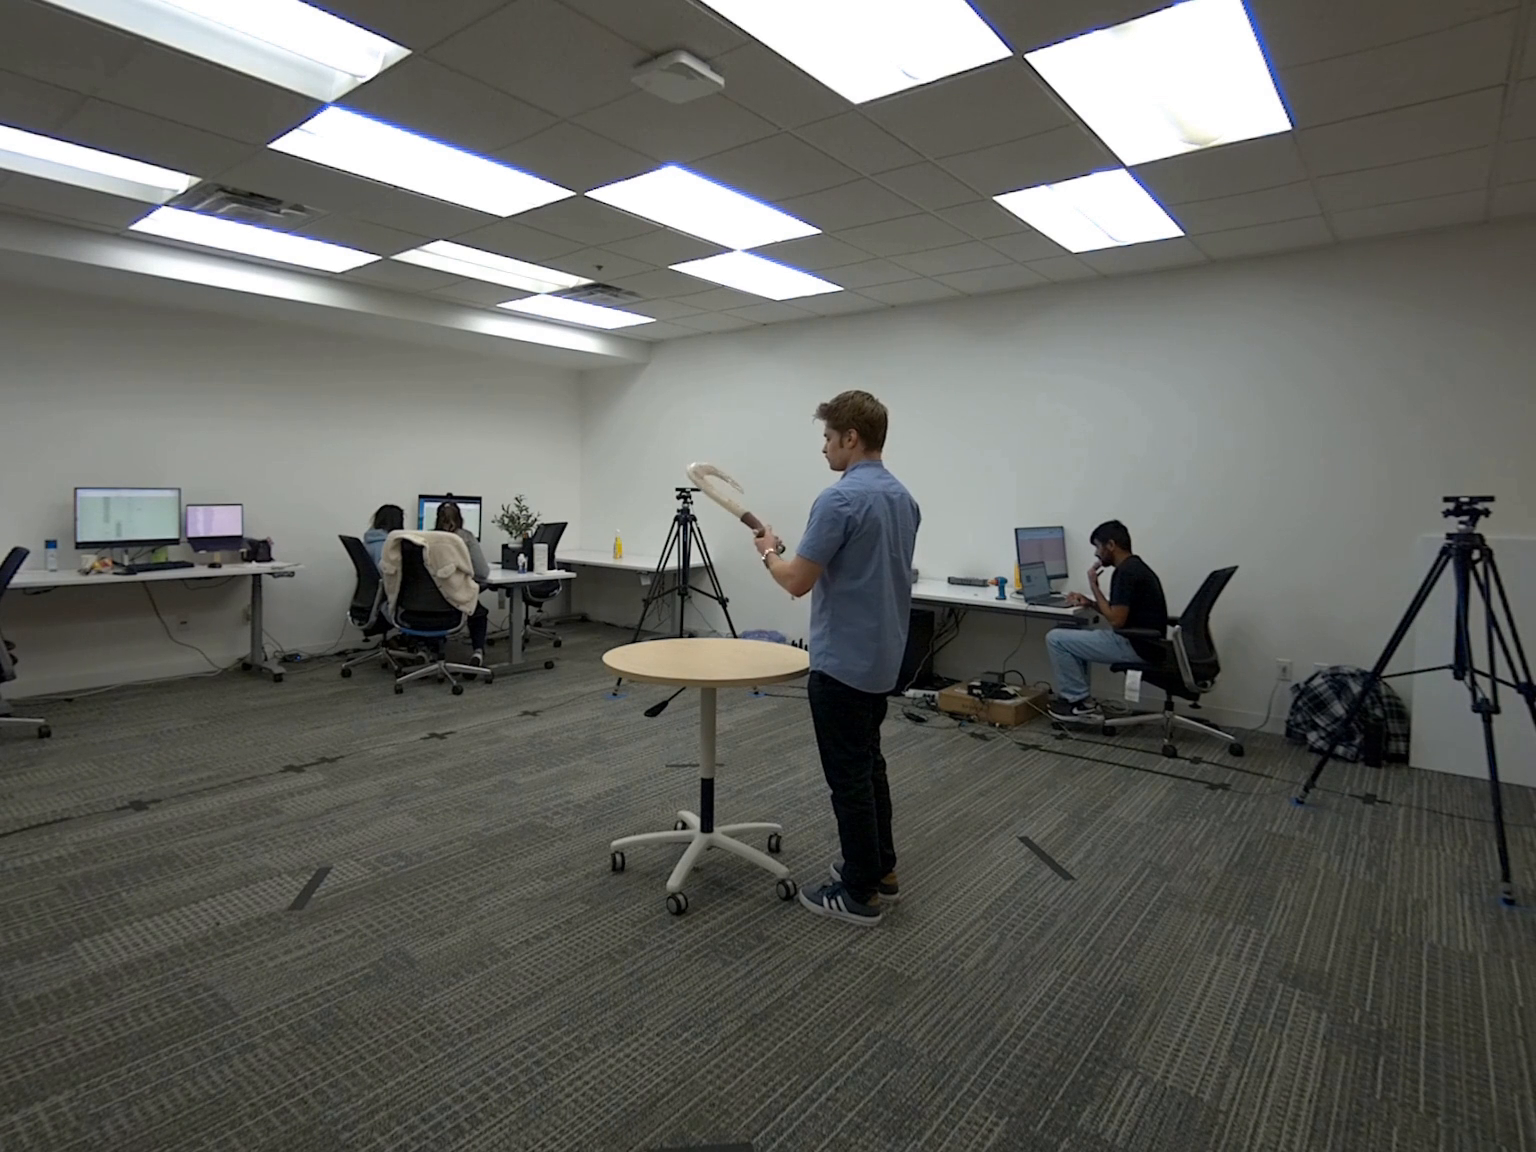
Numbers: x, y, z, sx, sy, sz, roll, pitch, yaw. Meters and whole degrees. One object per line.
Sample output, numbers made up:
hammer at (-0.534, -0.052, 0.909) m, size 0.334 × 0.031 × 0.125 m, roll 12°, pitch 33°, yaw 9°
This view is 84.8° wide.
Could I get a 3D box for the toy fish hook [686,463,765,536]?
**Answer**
toy fish hook at (-0.097, -0.246, 3.088) m, size 0.522 × 0.048 × 0.219 m, roll 45°, pitch 34°, yaw 22°
